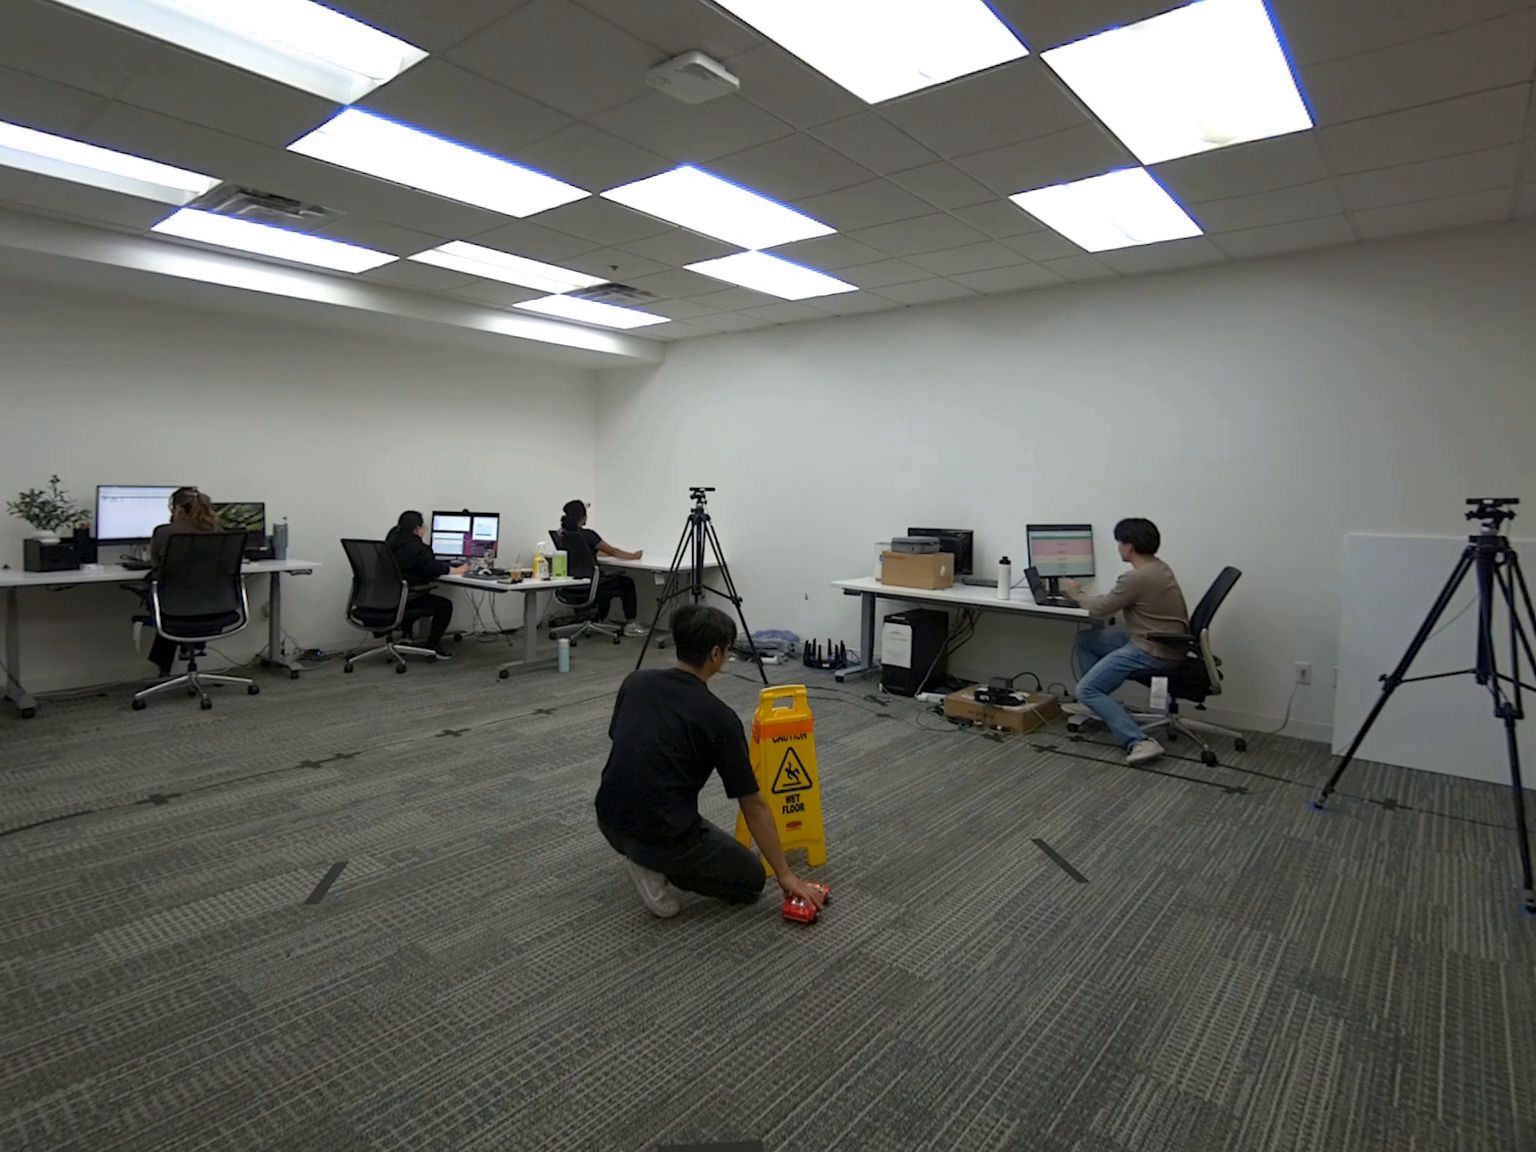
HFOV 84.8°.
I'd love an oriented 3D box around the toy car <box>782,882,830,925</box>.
[{"bbox_3d":[0.113,1.081,2.801,0.133,0.083,0.247,5,-5,21],"label":"toy car"}]
